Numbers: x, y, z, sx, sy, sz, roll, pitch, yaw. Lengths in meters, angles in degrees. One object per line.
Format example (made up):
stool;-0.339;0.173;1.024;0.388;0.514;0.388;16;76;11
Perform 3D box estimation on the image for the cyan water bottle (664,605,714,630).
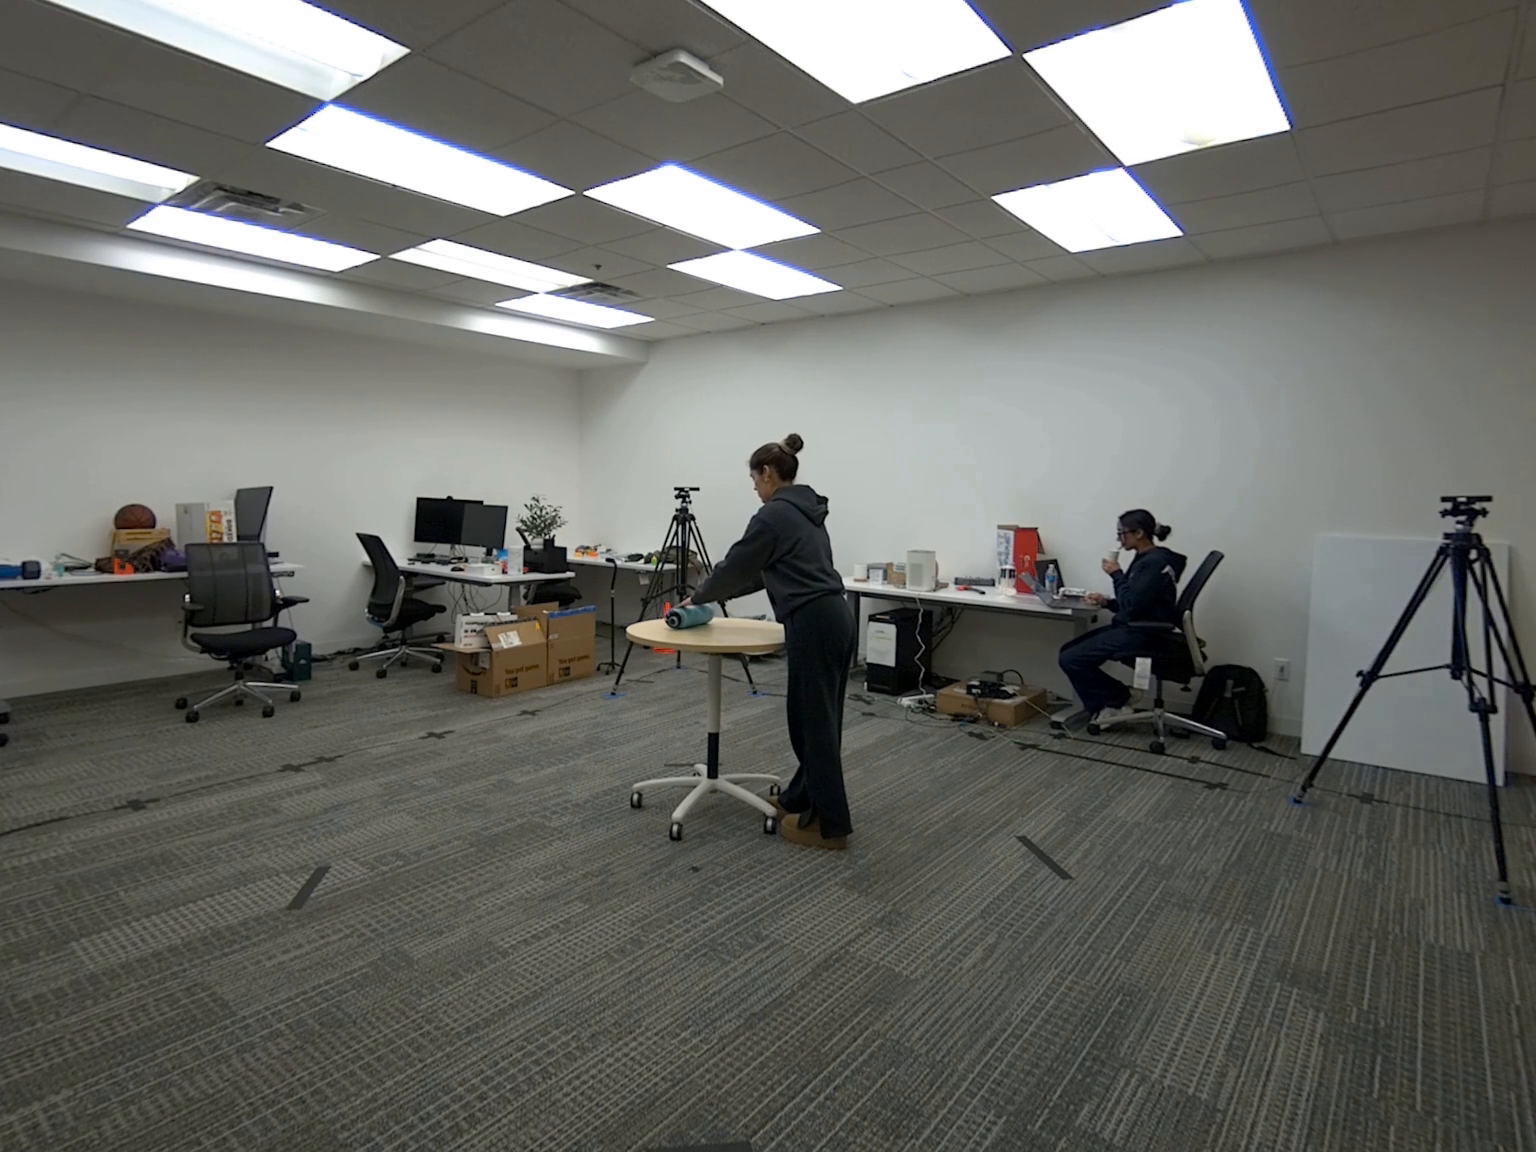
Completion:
cyan water bottle;-0.346;0.177;3.738;0.095;0.092;0.276;2;3;29
